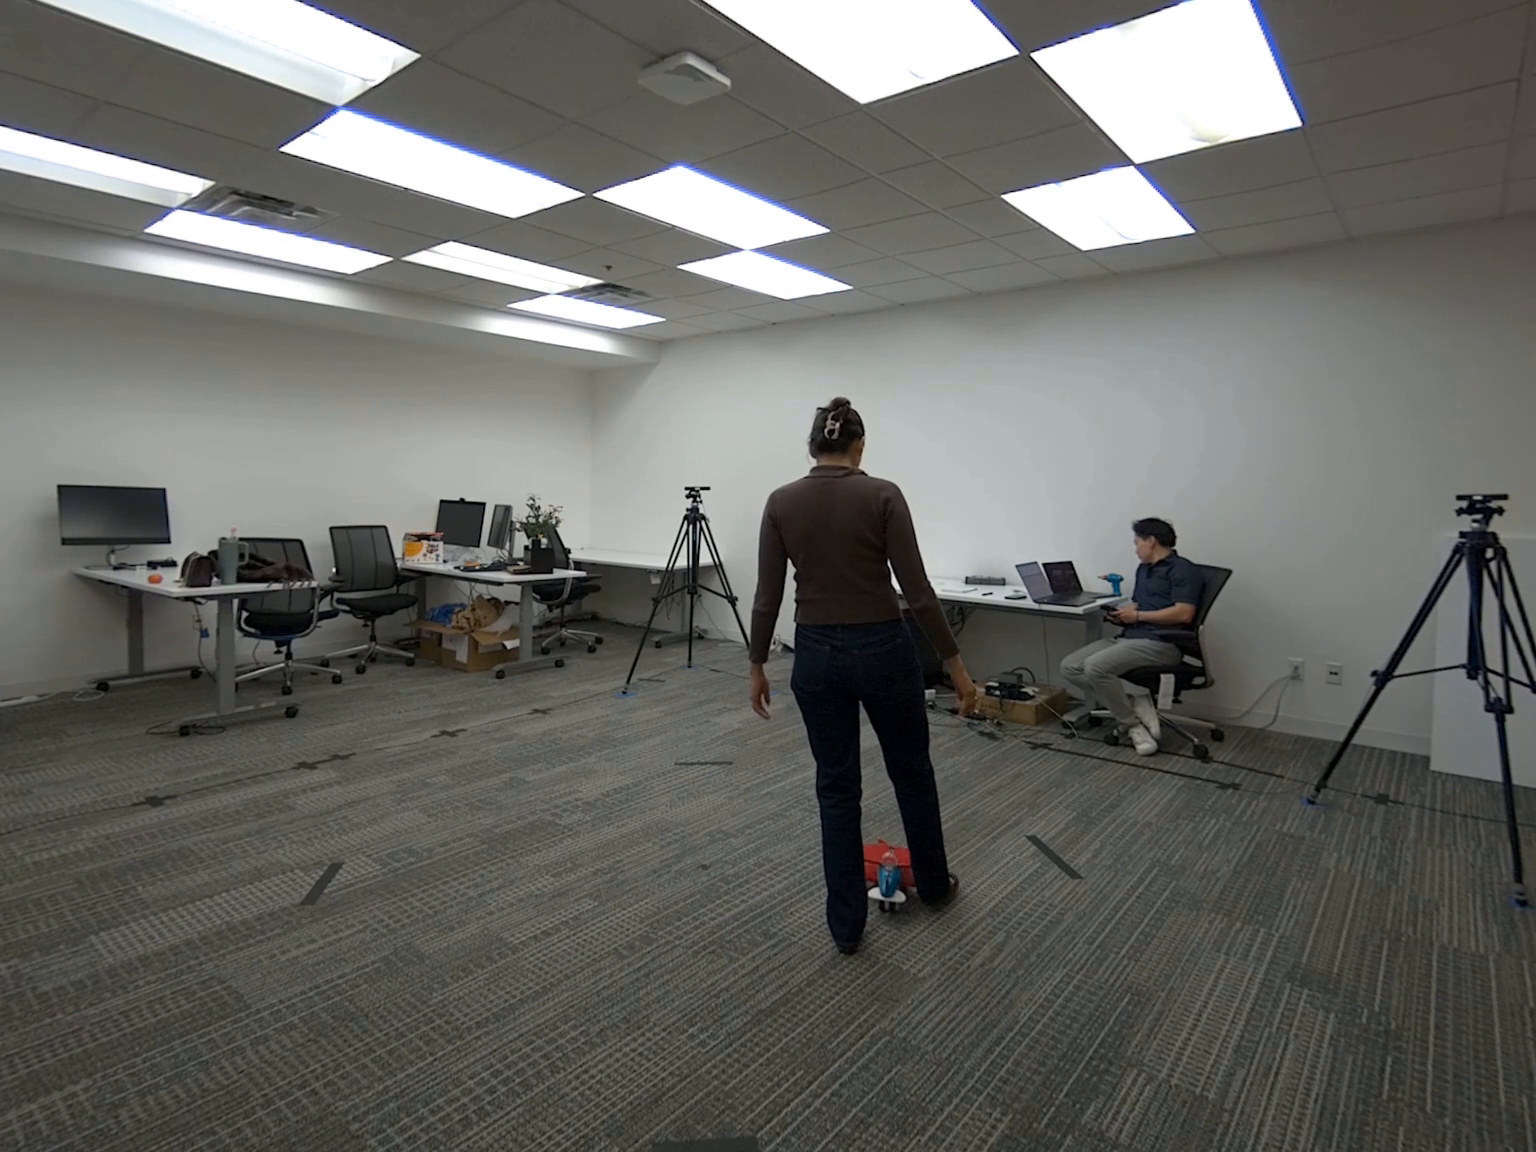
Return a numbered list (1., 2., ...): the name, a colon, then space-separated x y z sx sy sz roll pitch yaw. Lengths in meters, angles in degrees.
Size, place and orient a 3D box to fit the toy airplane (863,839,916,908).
1. toy airplane: 0.427 1.020 2.903 0.248 0.156 0.263 -1 4 -13
